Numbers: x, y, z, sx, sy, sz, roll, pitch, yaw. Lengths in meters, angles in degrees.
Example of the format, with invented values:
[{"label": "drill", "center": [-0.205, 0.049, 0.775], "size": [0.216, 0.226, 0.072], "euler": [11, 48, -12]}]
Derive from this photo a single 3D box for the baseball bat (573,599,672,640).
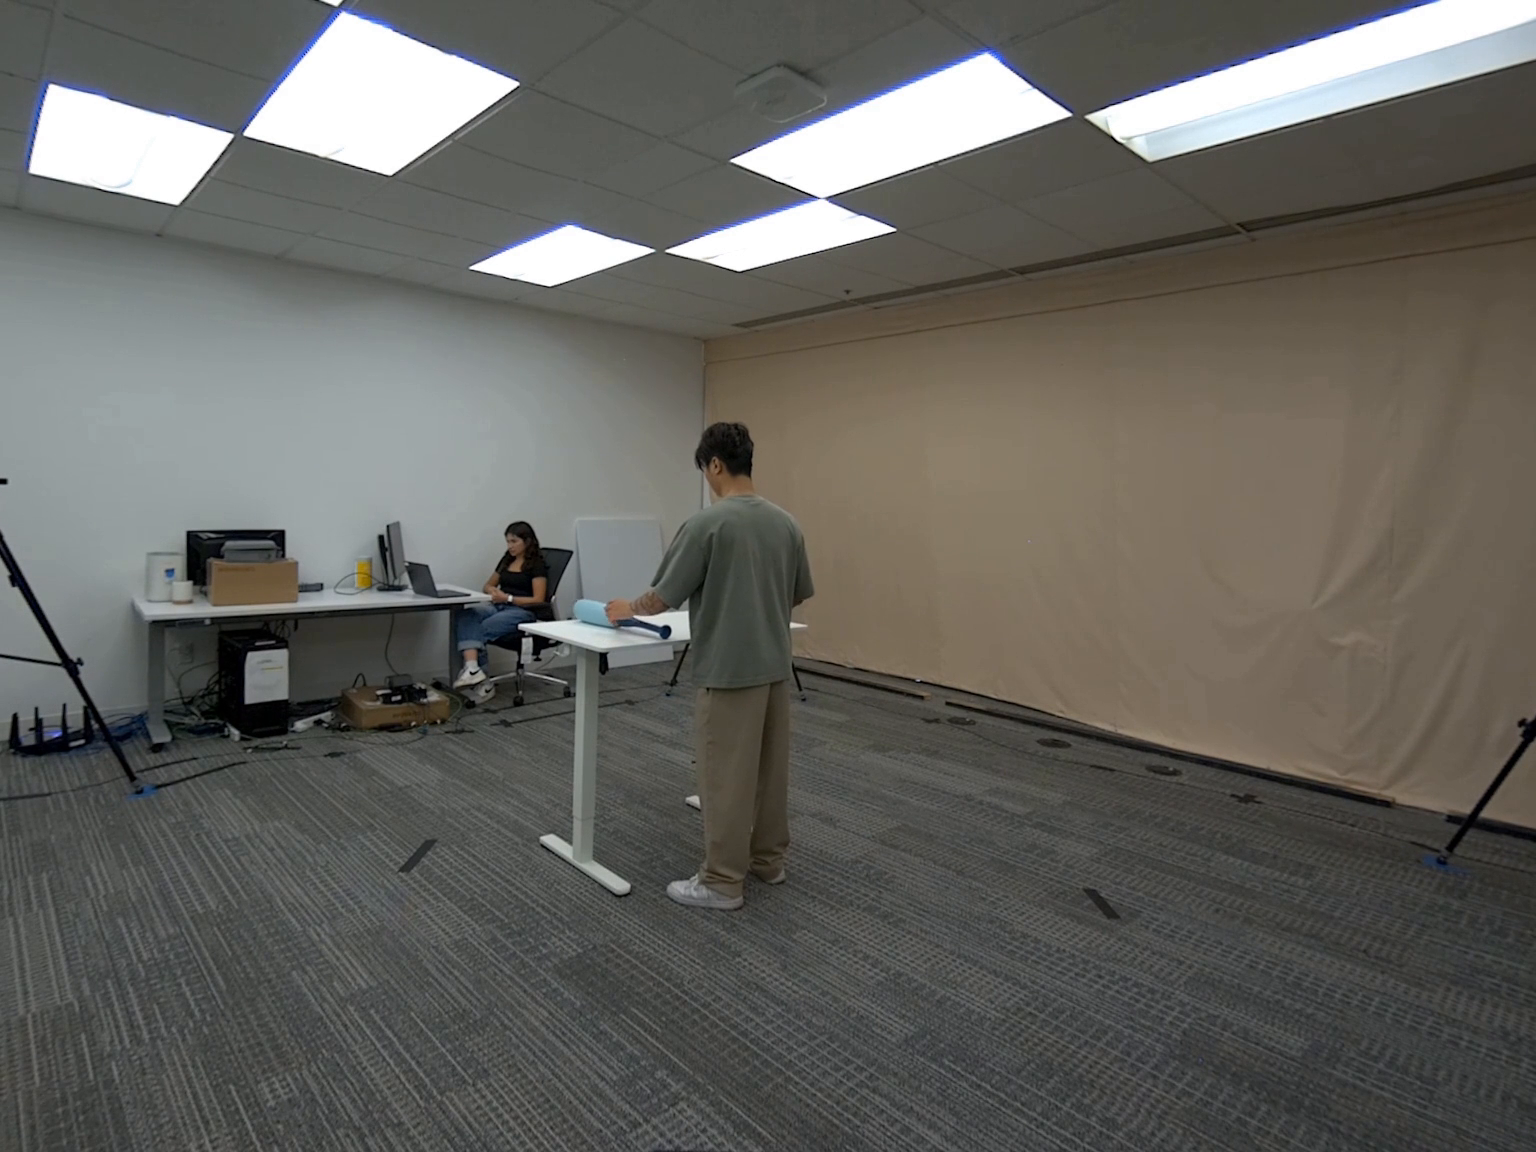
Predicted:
[{"label": "baseball bat", "center": [-0.560, 0.168, 3.205], "size": [0.558, 0.088, 0.087], "euler": [11, 10, 43]}]
